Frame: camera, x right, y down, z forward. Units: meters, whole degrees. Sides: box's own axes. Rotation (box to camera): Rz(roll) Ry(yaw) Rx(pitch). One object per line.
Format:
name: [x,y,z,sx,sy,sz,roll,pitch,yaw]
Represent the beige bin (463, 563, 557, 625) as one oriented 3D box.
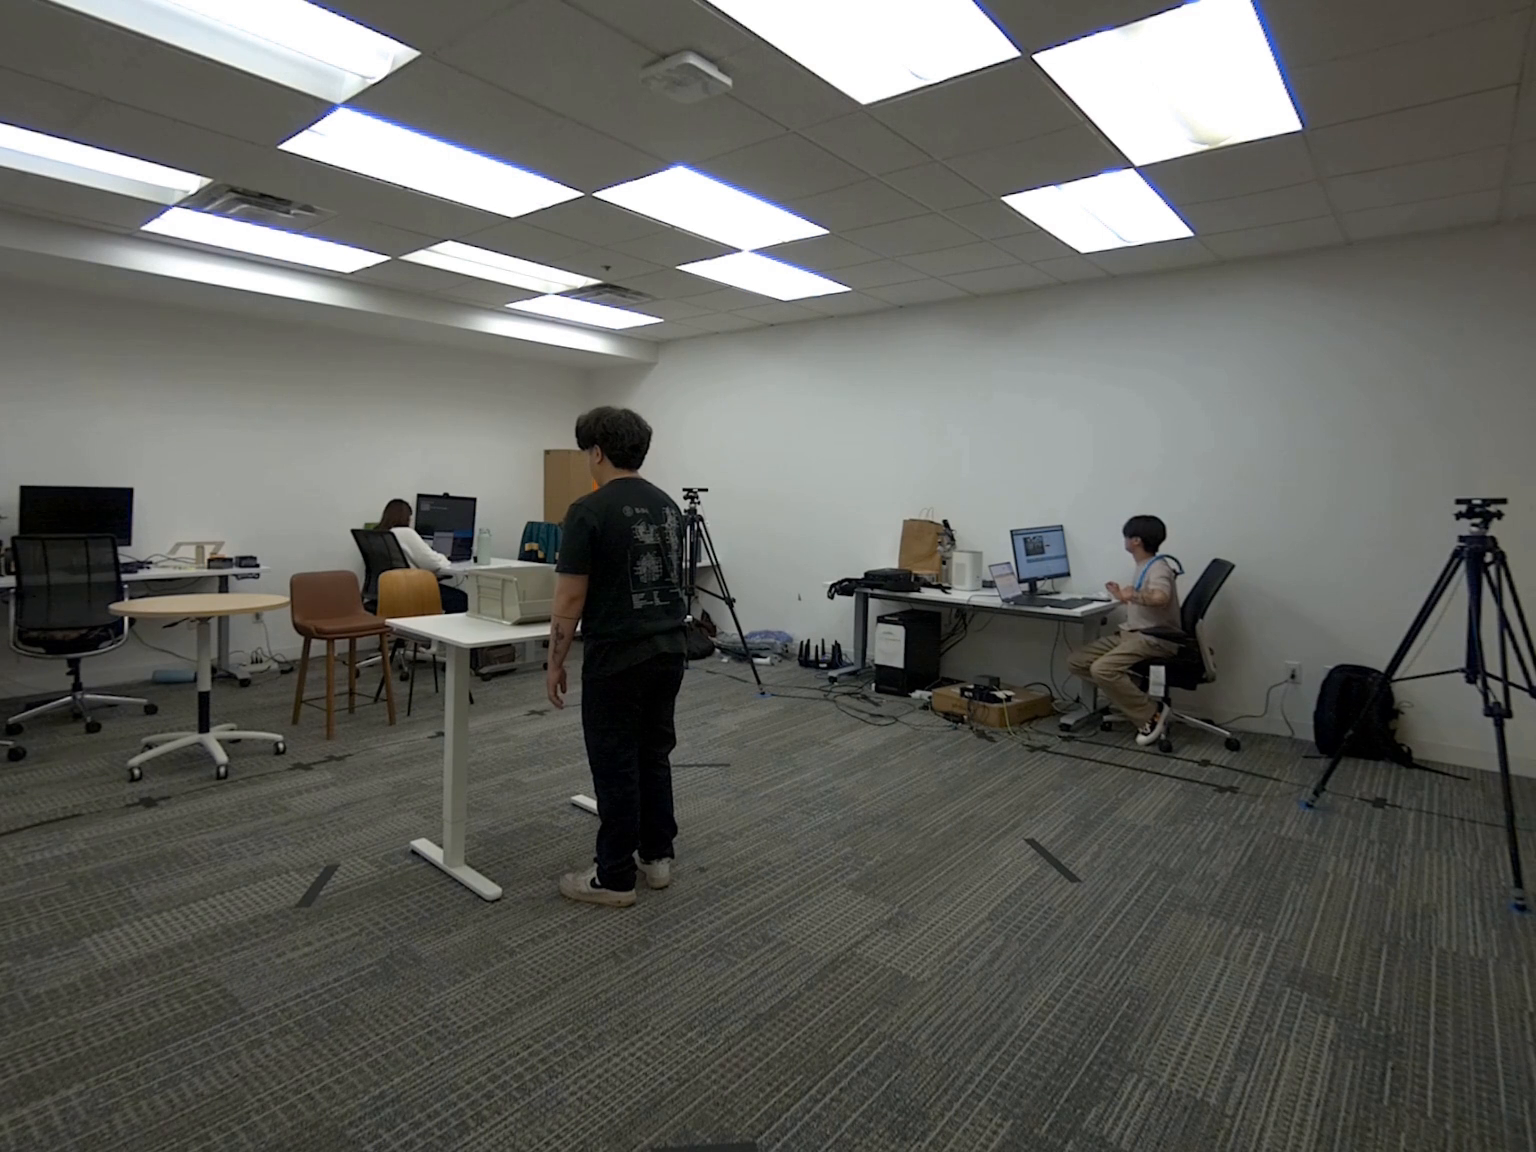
beige bin: [-0.909,0.069,3.307,0.390,0.188,0.410,5,6,42]
